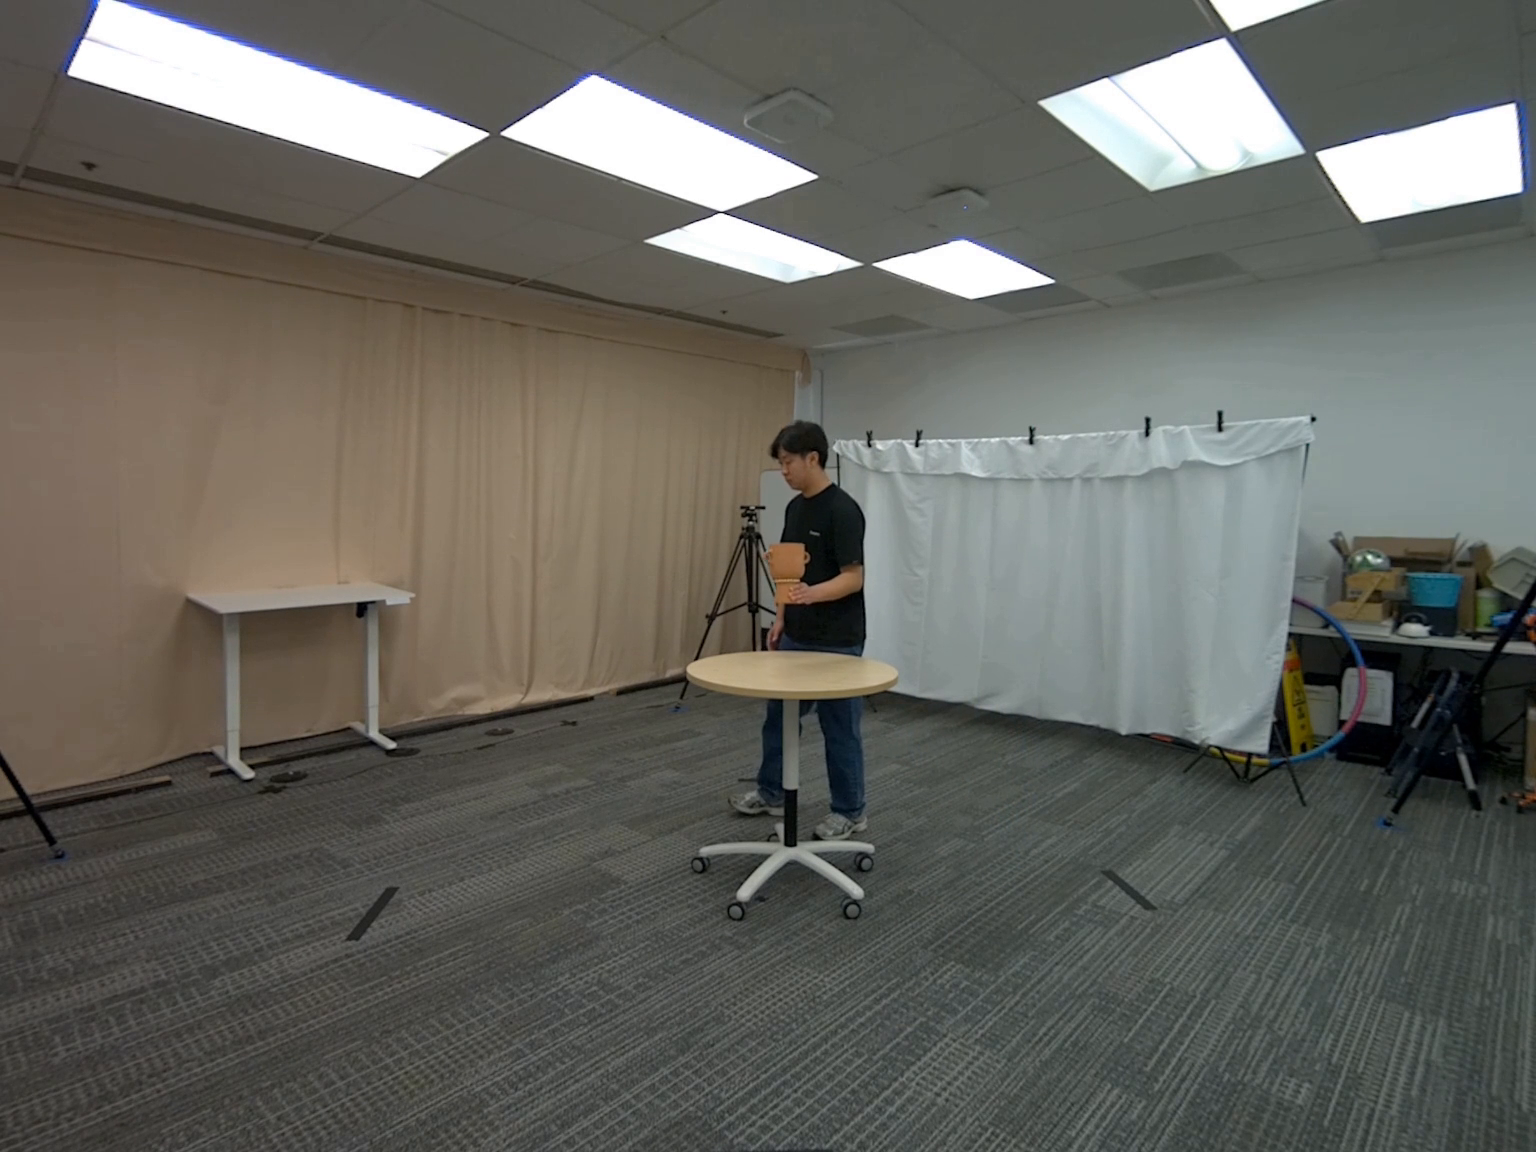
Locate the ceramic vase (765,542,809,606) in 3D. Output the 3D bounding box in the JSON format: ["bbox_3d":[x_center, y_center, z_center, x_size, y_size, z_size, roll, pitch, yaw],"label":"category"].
[{"bbox_3d":[0.071,-0.004,3.152,0.161,0.220,0.132,-2,-3,13],"label":"ceramic vase"}]
